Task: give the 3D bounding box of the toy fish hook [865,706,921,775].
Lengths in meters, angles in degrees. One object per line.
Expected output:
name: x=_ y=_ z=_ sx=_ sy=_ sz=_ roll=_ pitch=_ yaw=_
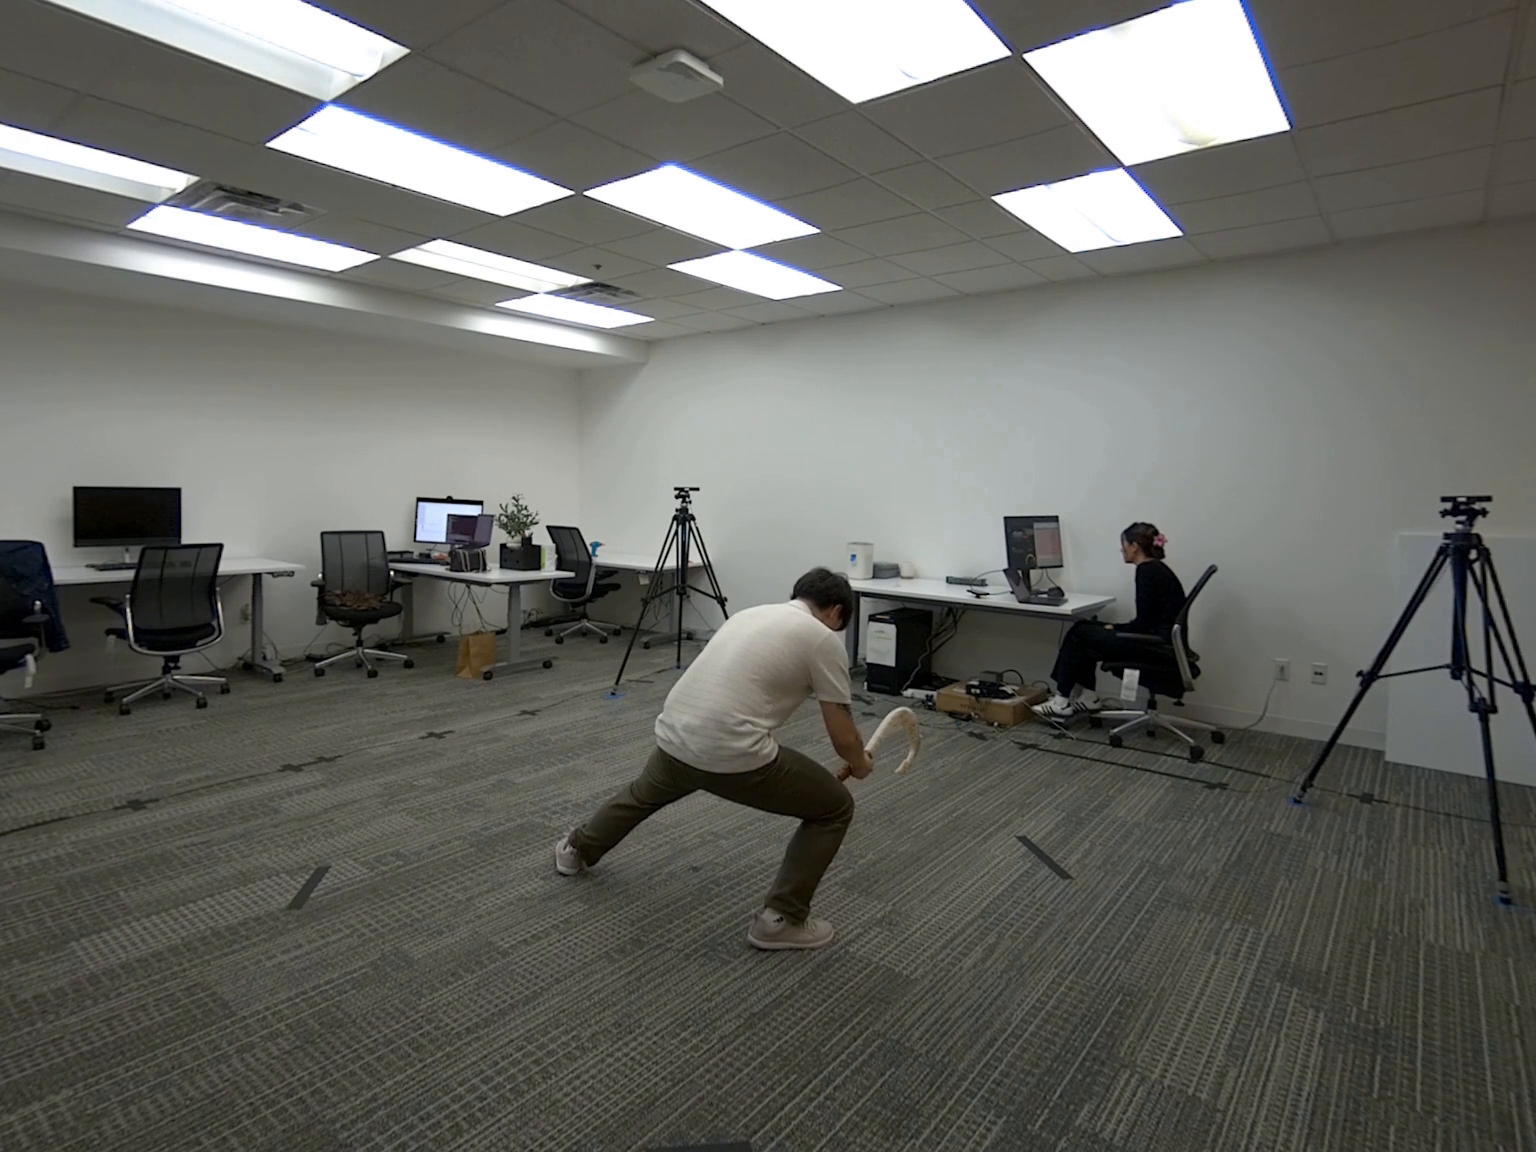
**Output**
toy fish hook: x=0.383 y=0.643 z=2.969 sx=0.499 sy=0.223 sz=0.049 roll=-29 pitch=8 yaw=-39
